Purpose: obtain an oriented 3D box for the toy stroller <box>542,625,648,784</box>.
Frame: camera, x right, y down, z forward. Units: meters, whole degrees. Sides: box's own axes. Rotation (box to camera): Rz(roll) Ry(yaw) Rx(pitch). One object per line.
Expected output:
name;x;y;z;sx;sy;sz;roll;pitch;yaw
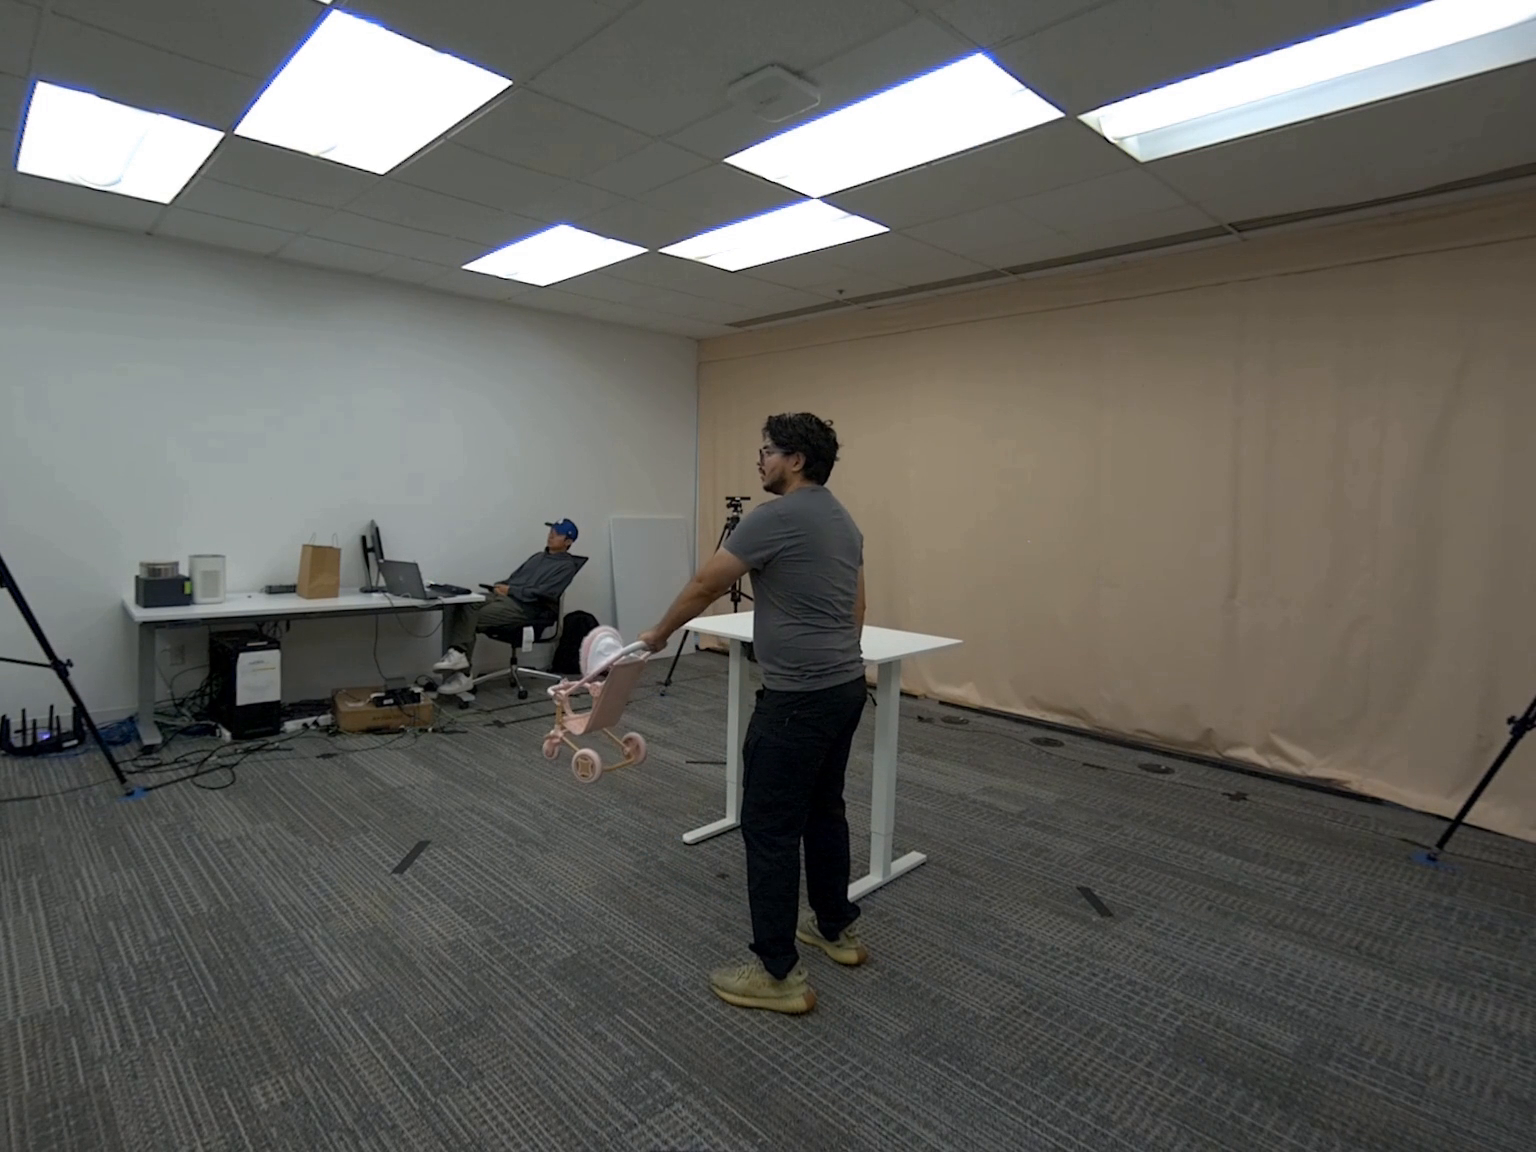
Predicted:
toy stroller;-0.555;0.410;2.740;0.350;0.533;0.275;21;9;30
